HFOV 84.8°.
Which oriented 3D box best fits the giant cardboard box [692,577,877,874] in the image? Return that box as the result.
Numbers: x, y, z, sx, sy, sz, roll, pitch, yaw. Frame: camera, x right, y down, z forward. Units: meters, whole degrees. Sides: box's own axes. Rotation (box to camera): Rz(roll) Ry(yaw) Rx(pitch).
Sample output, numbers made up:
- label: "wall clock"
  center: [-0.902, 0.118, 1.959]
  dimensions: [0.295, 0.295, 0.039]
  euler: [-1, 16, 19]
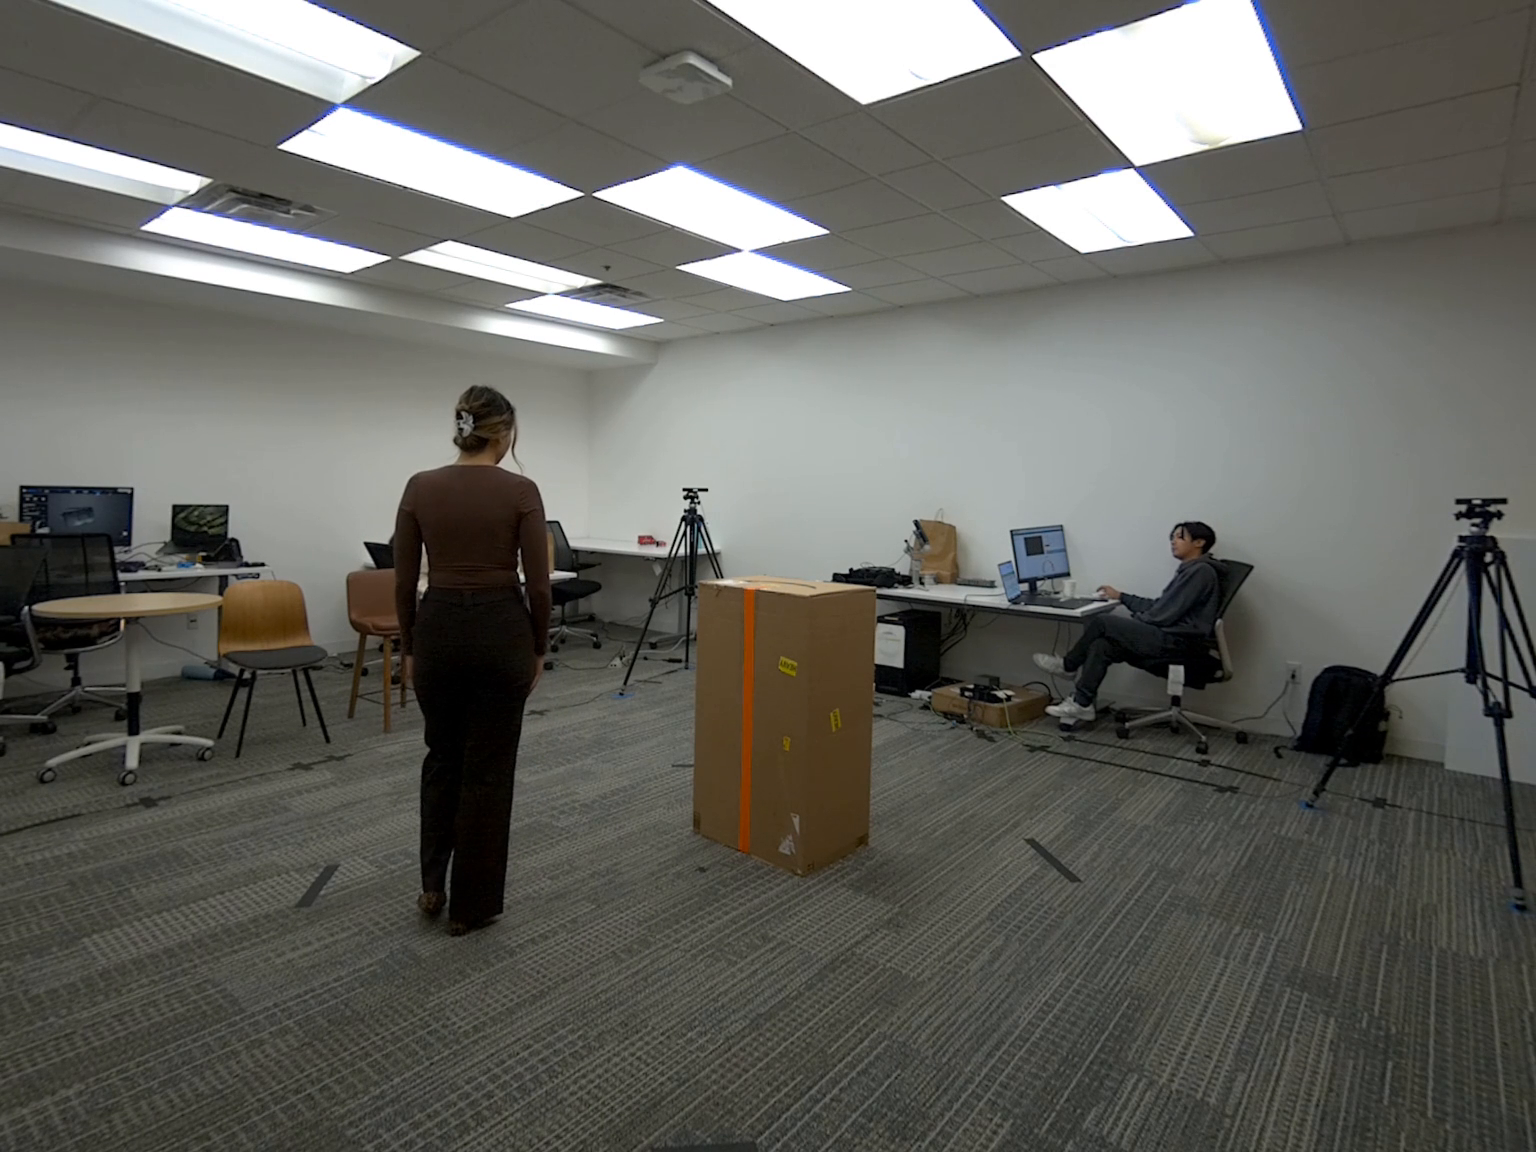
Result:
- label: "giant cardboard box"
  center: [0.048, 0.538, 3.381]
  dimensions: [0.604, 1.024, 0.433]
  euler: [4, 5, 43]
